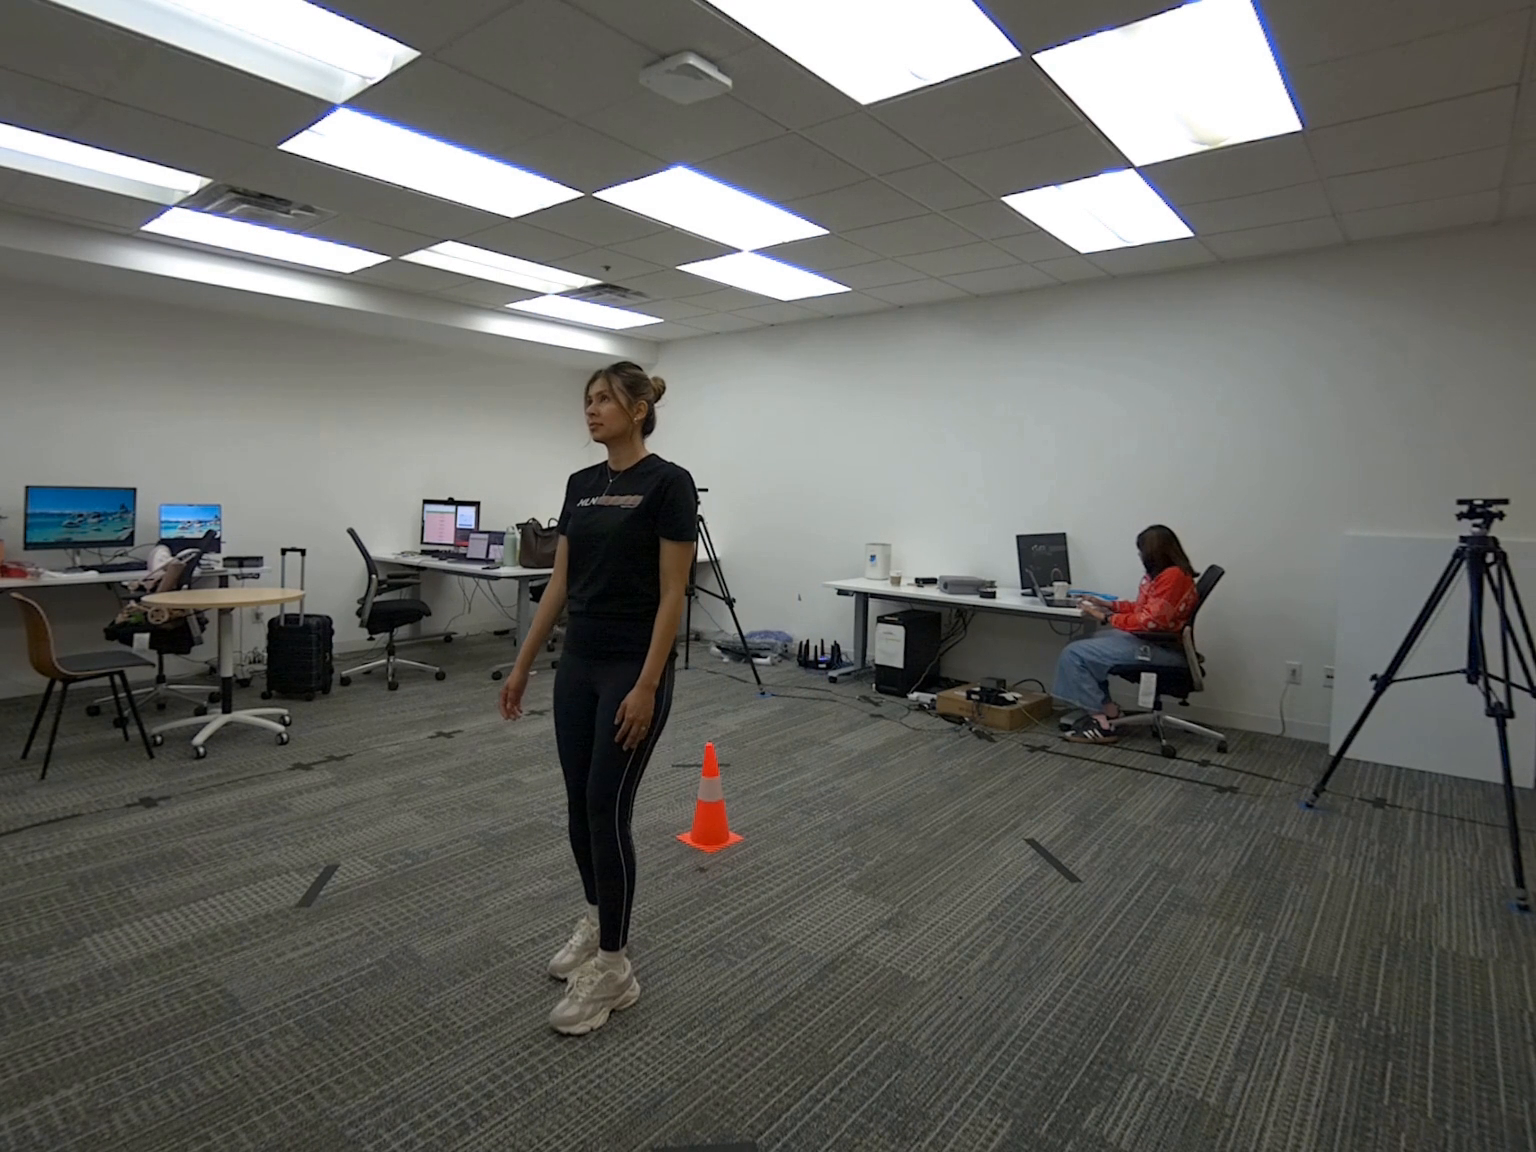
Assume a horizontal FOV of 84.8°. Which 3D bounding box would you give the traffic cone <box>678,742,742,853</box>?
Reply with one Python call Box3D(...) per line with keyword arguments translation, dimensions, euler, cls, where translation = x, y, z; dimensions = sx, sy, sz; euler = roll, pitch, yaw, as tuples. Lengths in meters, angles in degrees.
Box3D(translation=(-0.241, 0.860, 3.387), dimensions=(0.197, 0.383, 0.212), euler=(-2, 4, -40), cls="traffic cone")
